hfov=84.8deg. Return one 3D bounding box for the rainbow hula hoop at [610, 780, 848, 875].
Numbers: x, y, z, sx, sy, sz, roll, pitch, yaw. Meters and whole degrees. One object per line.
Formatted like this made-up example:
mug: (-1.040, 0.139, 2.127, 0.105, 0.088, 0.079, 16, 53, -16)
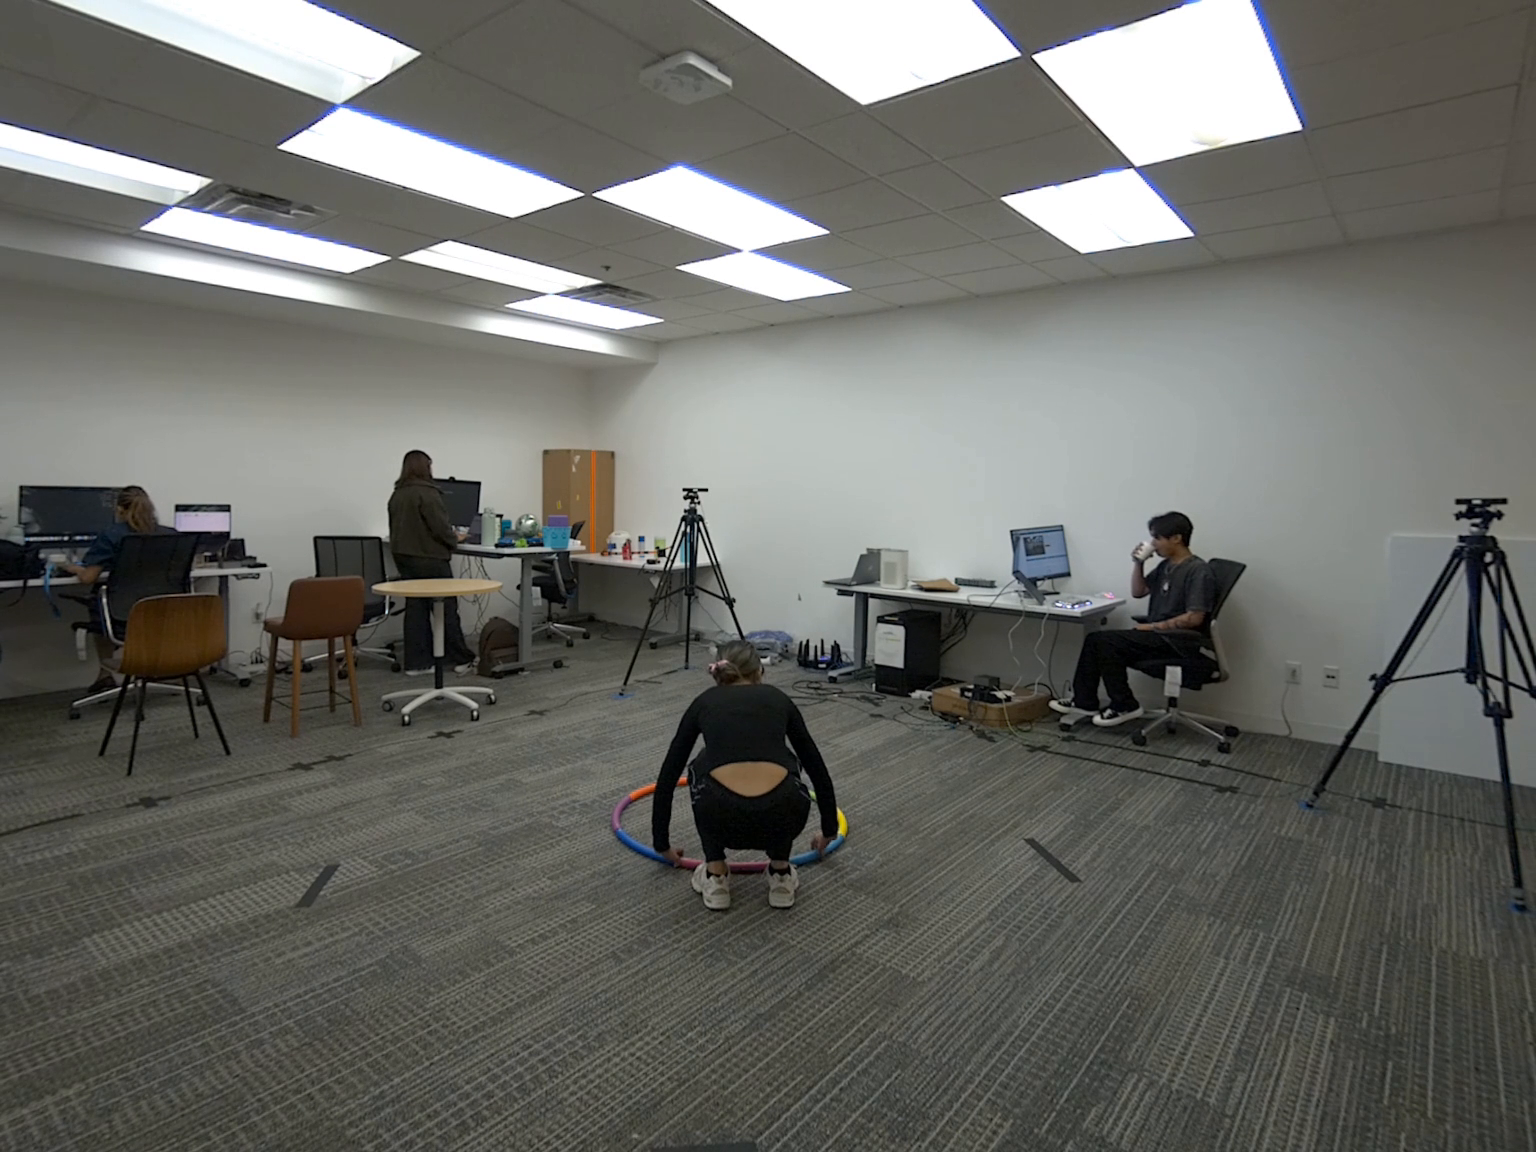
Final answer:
rainbow hula hoop: (-0.174, 0.996, 3.561, 0.978, 0.035, 0.984, 1, 6, -2)
